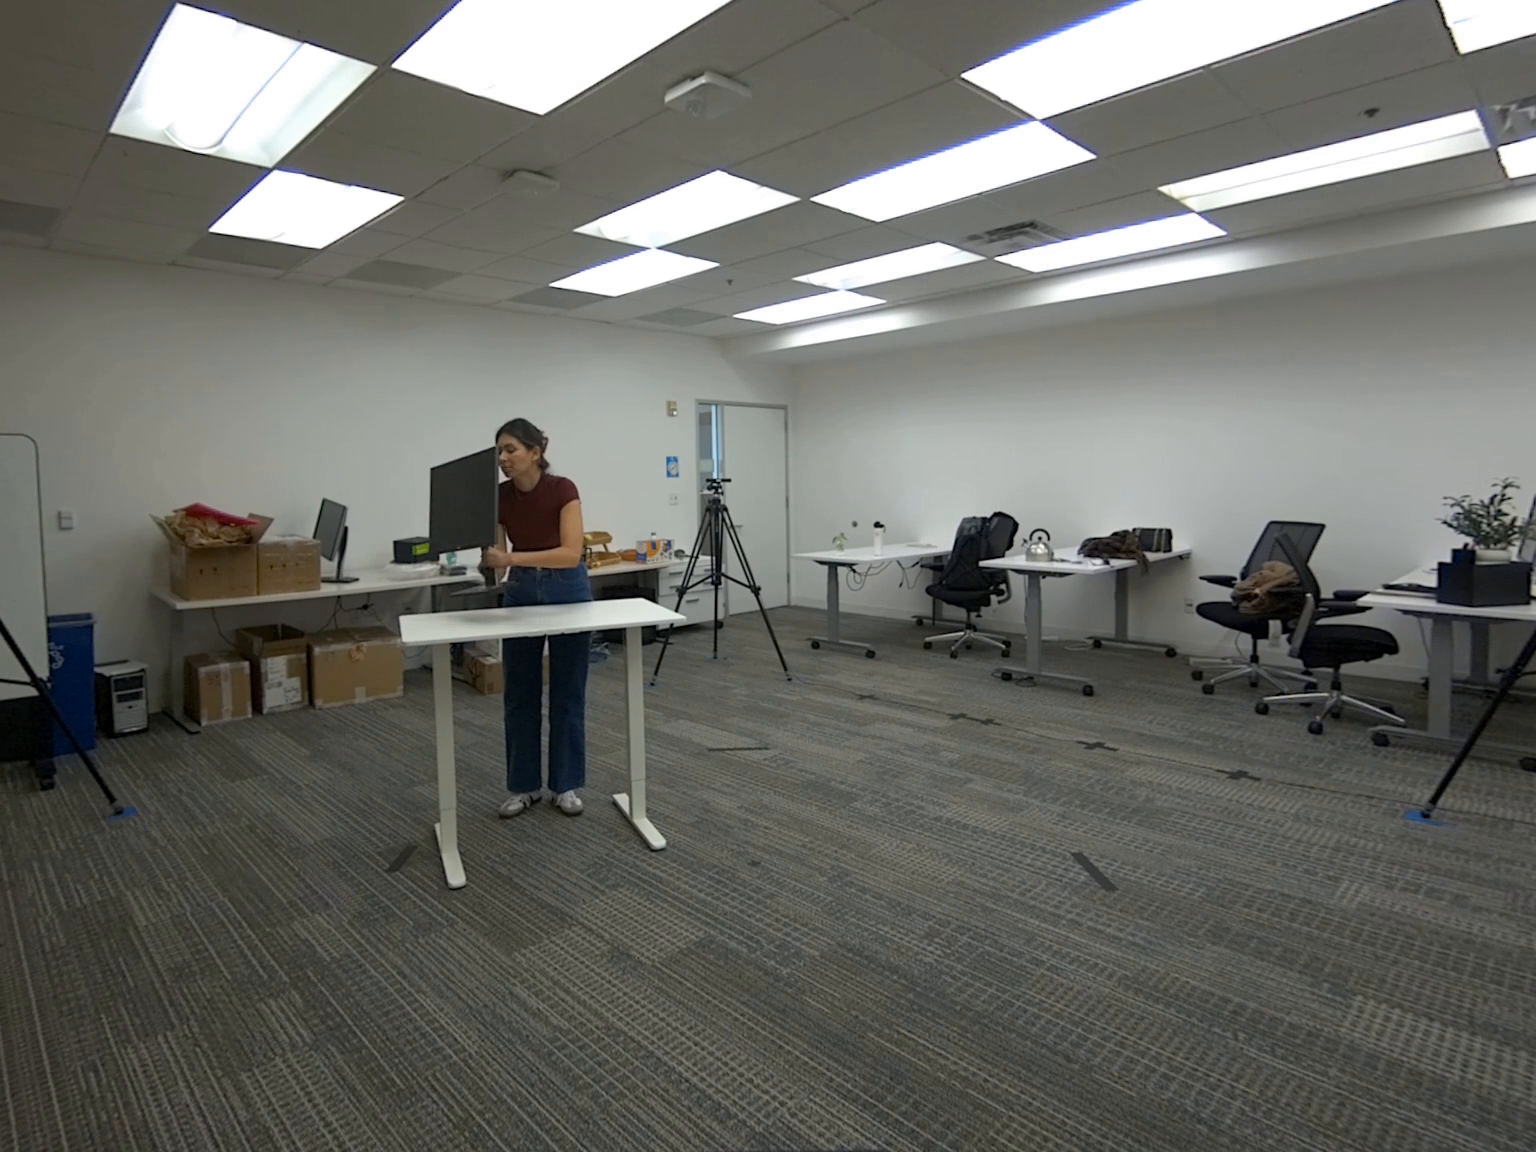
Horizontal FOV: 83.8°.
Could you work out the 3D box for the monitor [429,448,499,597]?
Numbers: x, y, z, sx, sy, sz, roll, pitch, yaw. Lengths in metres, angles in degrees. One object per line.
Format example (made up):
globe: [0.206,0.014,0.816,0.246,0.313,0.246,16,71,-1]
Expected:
monitor: [-1.125,-0.187,3.243,0.553,0.521,0.183,-6,4,44]
